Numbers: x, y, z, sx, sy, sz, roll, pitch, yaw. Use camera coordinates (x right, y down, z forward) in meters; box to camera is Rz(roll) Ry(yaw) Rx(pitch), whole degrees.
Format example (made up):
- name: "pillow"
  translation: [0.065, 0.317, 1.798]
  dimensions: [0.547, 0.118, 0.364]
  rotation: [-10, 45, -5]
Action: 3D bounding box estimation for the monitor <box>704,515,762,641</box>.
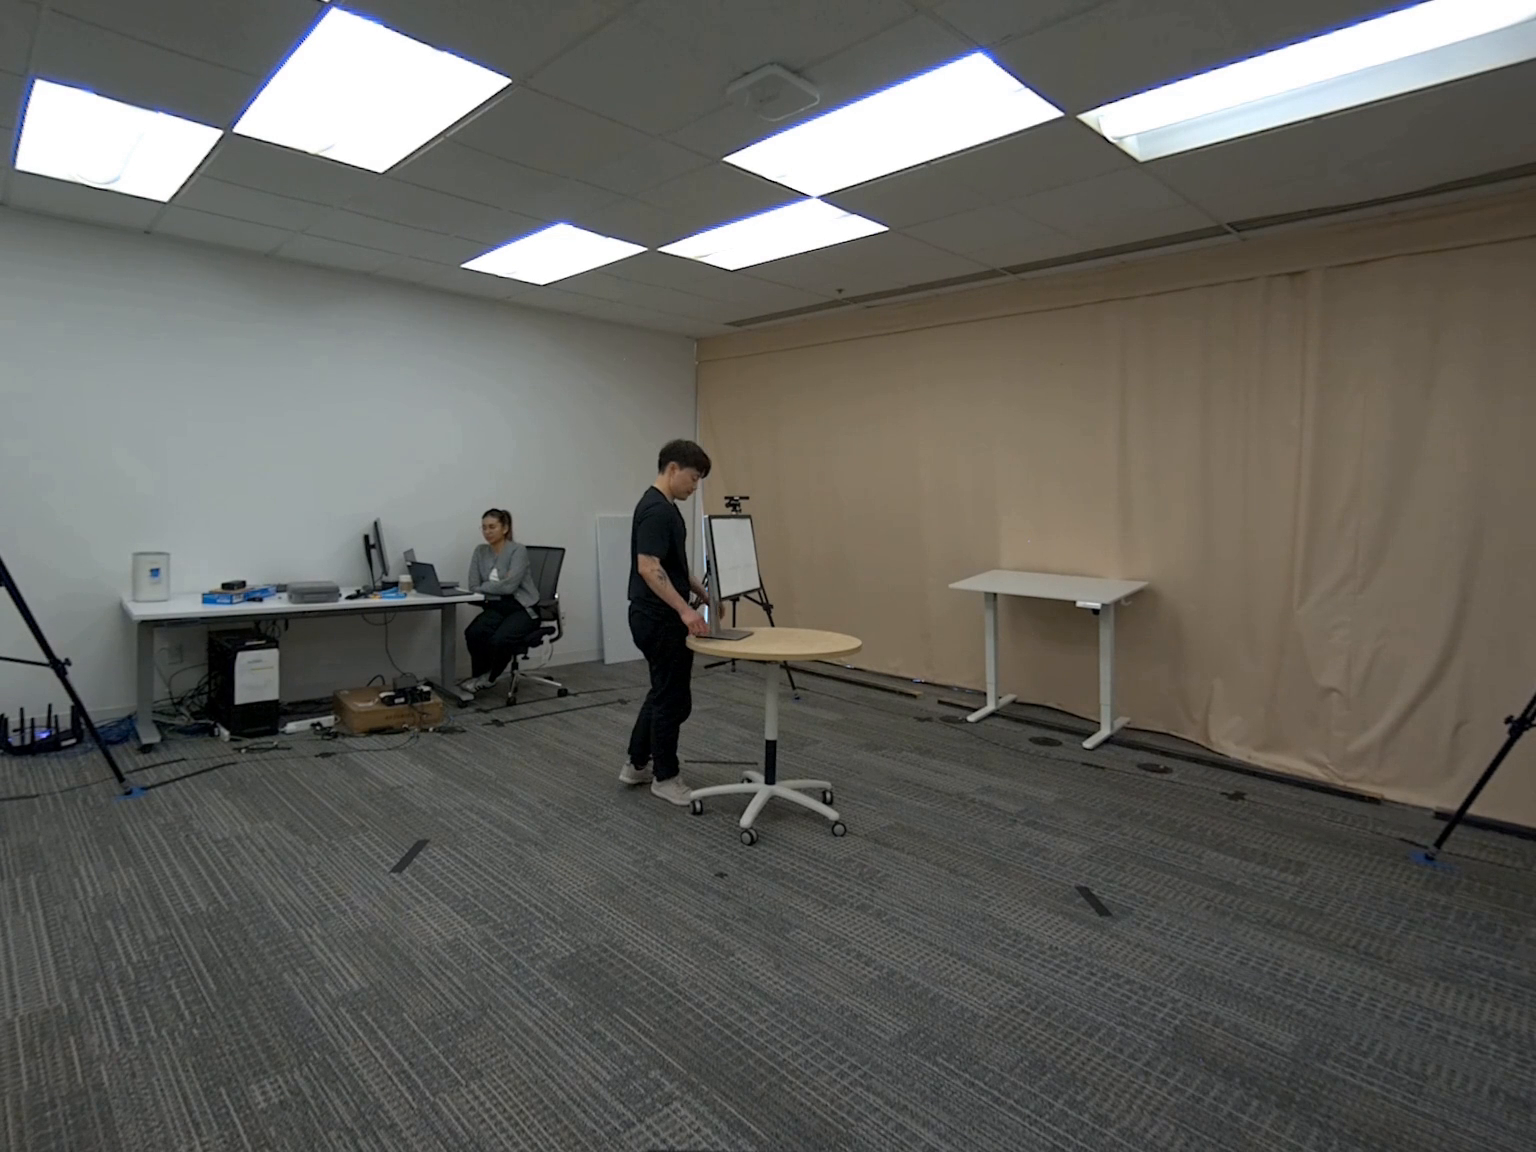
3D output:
- name: "monitor"
  translation: [-0.190, -0.001, 3.749]
  dimensions: [0.190, 0.521, 0.532]
  rotation: [4, 3, 16]
